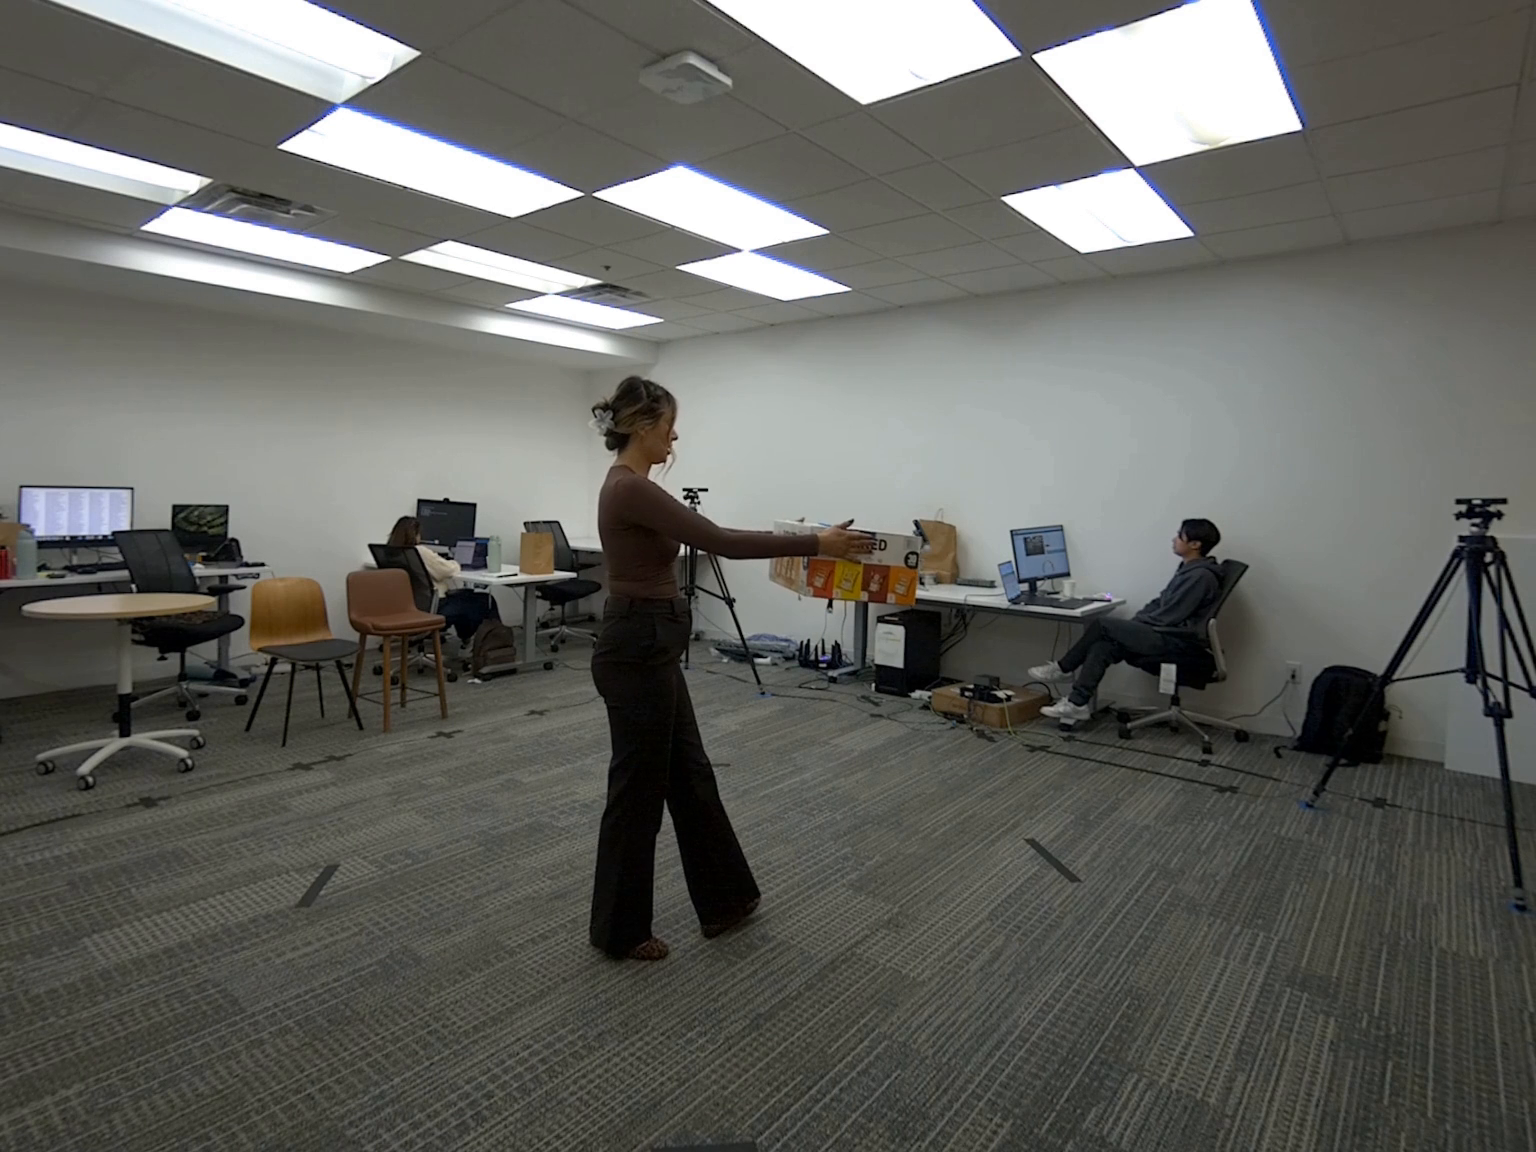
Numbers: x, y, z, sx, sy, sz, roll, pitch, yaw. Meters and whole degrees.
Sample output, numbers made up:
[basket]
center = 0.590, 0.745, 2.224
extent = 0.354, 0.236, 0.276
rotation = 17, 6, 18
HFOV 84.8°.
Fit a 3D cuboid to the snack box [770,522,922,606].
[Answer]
[snack box]
center = 0.215, -0.044, 2.638
extent = 0.335, 0.205, 0.413
rotation = 5, 5, -14
